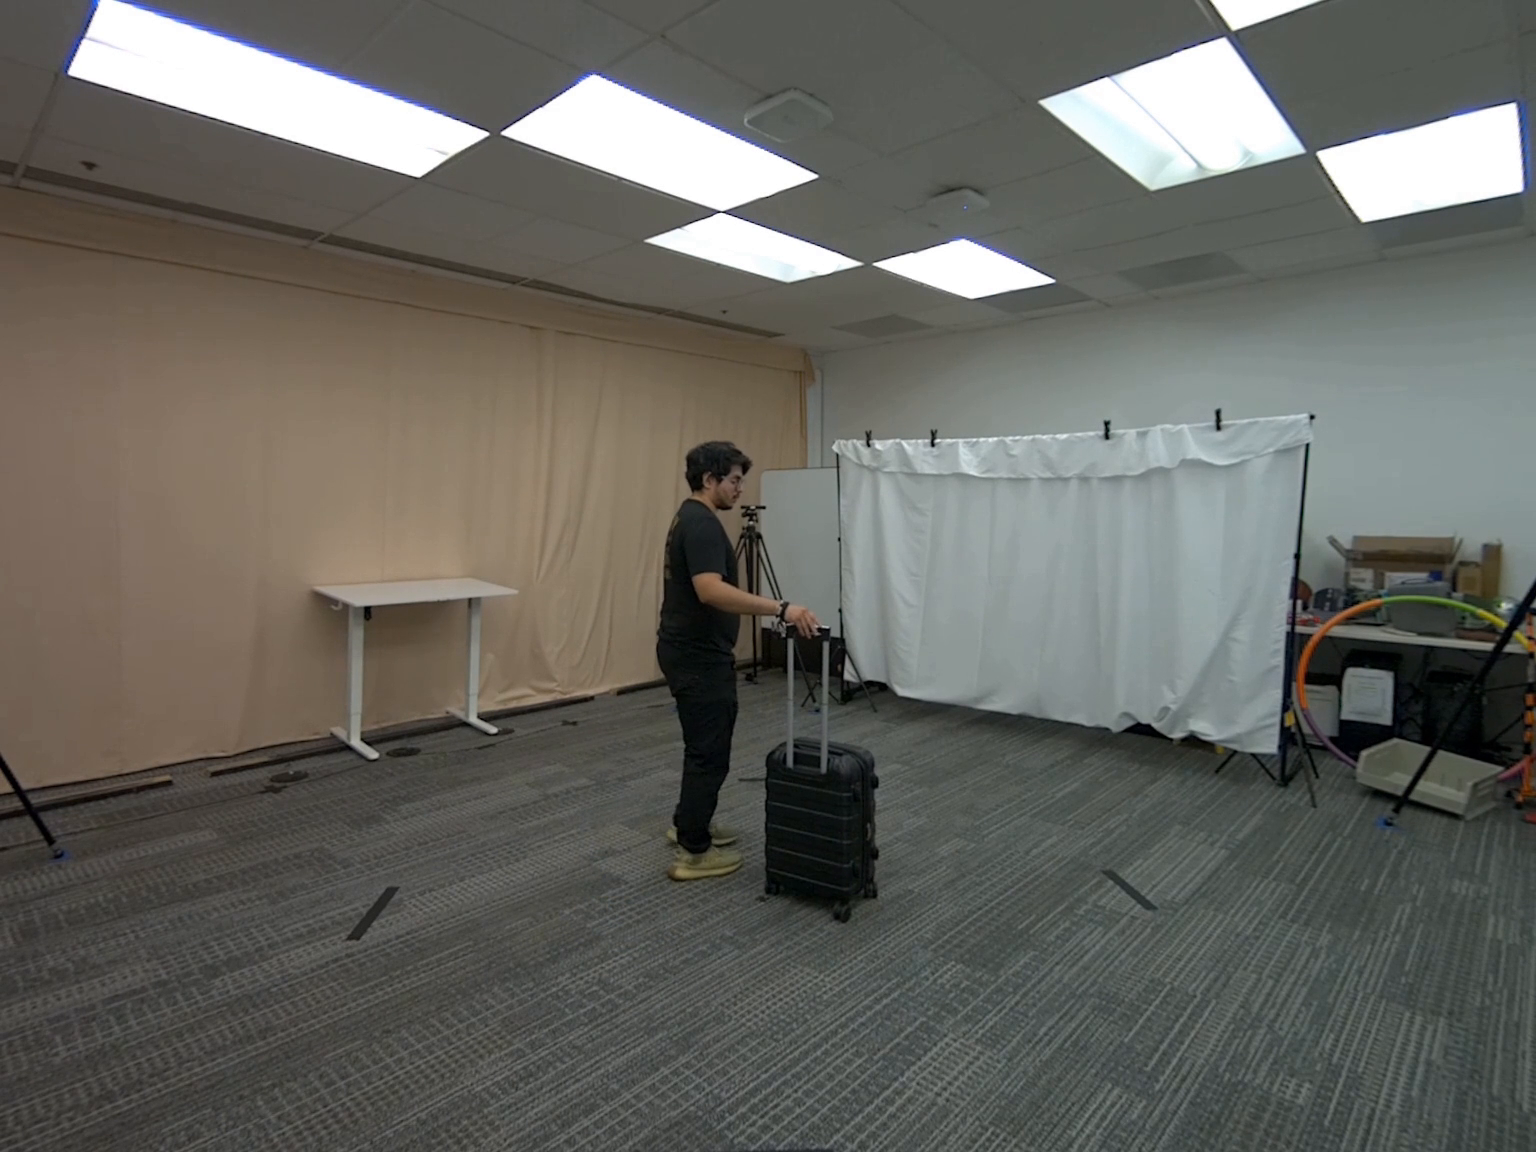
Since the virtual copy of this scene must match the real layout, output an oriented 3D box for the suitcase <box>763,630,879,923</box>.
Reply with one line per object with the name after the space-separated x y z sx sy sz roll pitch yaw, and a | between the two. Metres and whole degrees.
0.191 0.667 2.988 0.396 0.978 0.249 1 1 33 | suitcase
